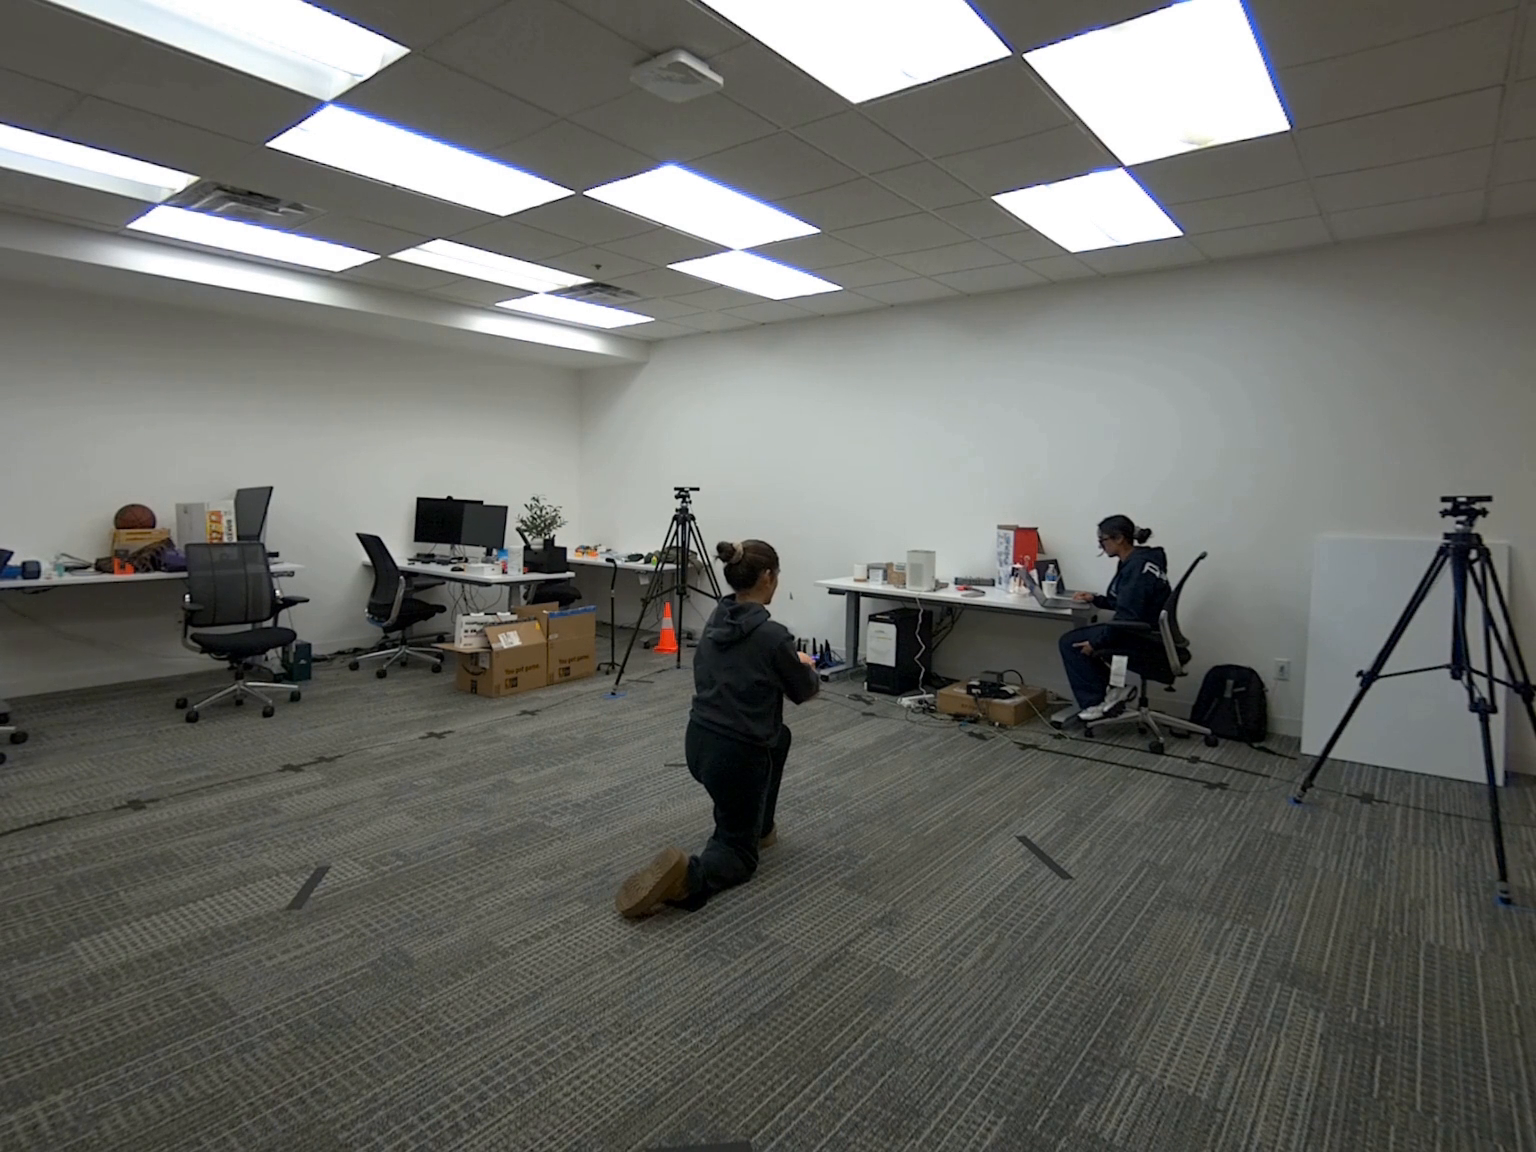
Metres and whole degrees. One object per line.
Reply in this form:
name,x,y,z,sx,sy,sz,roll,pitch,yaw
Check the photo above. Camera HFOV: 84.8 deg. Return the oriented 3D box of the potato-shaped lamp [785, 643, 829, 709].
potato-shaped lamp,0.128,0.404,3.448,0.170,0.196,0.167,6,13,38
